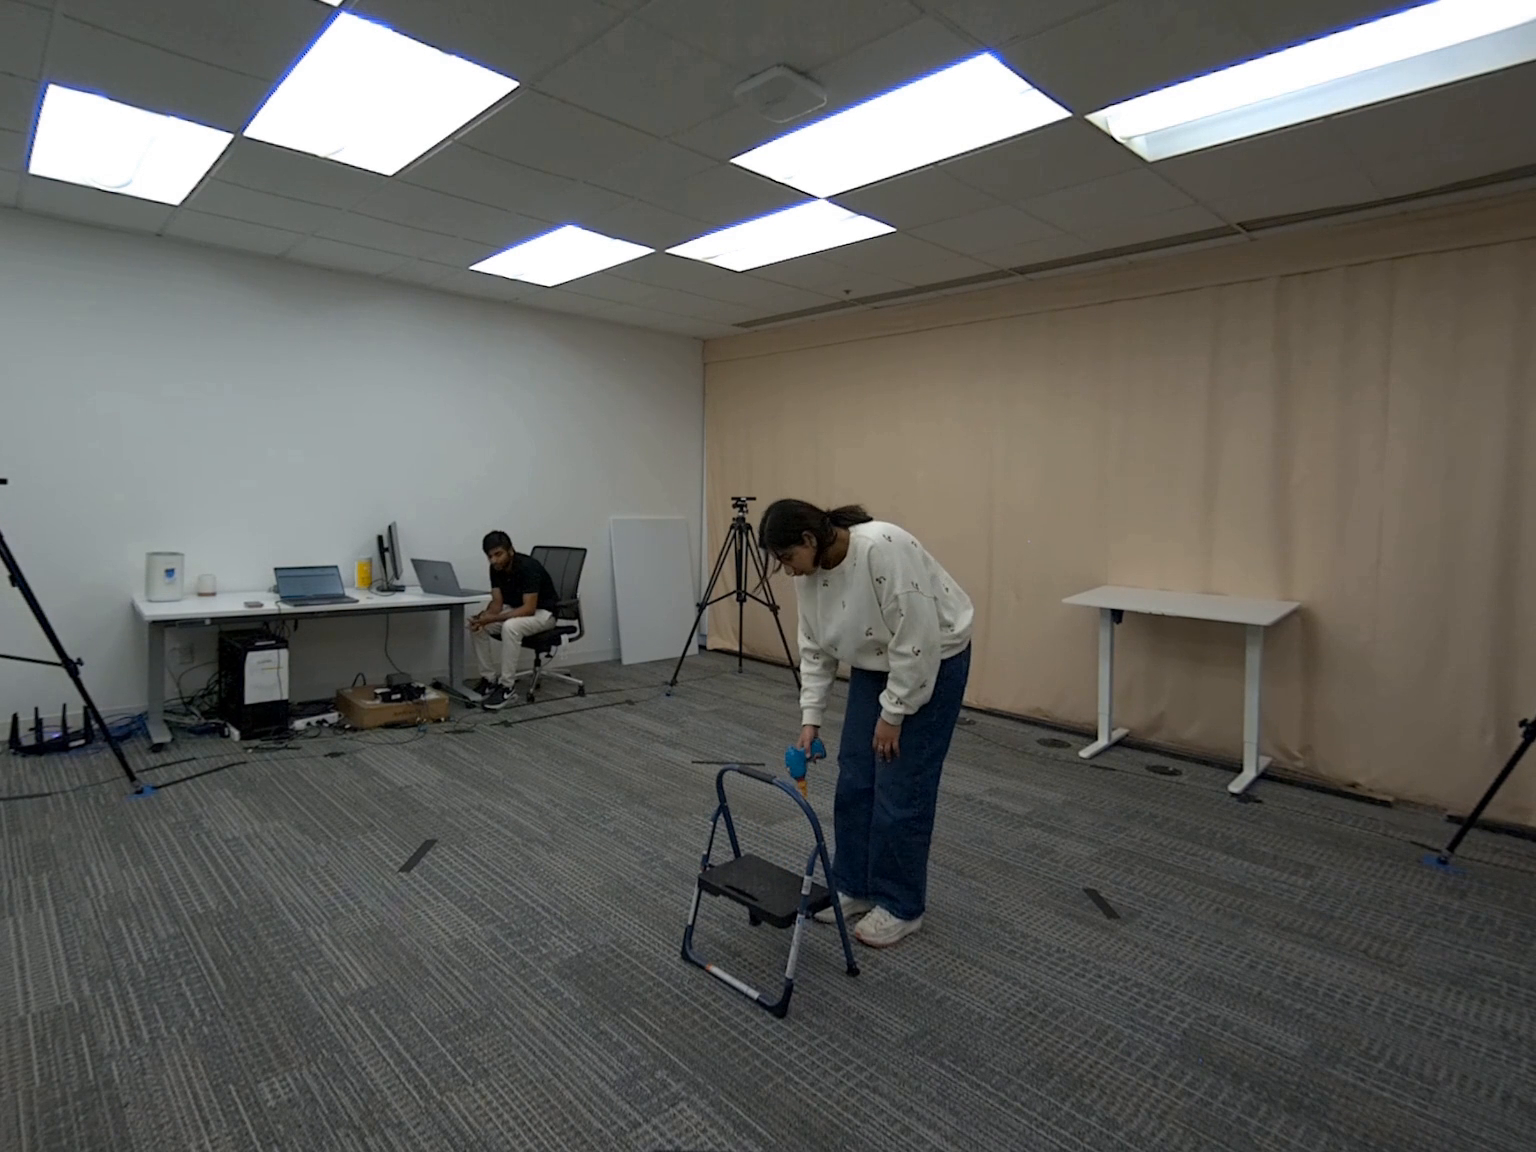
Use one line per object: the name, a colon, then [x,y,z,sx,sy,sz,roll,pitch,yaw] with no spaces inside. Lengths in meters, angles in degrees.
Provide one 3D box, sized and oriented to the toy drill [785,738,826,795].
toy drill: [0.129,0.621,2.730,0.144,0.170,0.062,-14,-4,-29]
